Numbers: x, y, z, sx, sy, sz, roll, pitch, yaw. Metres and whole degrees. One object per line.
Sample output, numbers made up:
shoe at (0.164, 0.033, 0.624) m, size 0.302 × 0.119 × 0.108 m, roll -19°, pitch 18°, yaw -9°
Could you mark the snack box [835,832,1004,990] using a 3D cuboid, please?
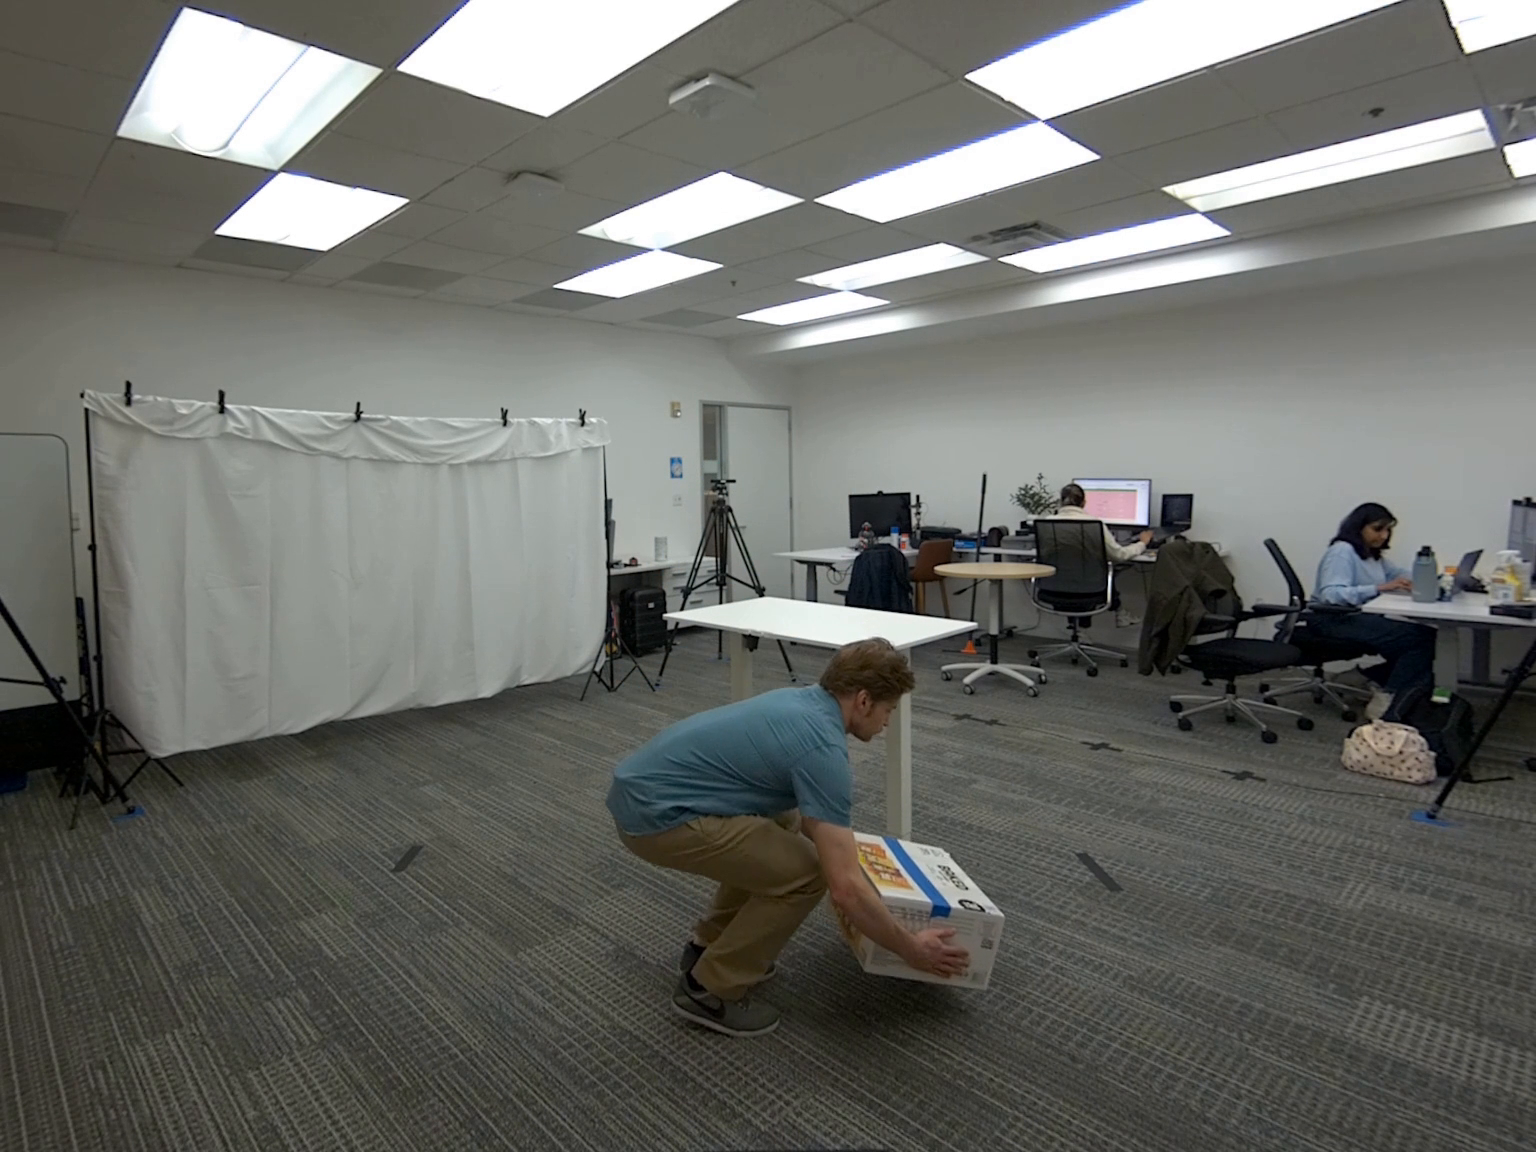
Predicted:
snack box at (0.383, 0.910, 2.350) m, size 0.336 × 0.205 × 0.411 m, roll 12°, pitch 4°, yaw -12°
